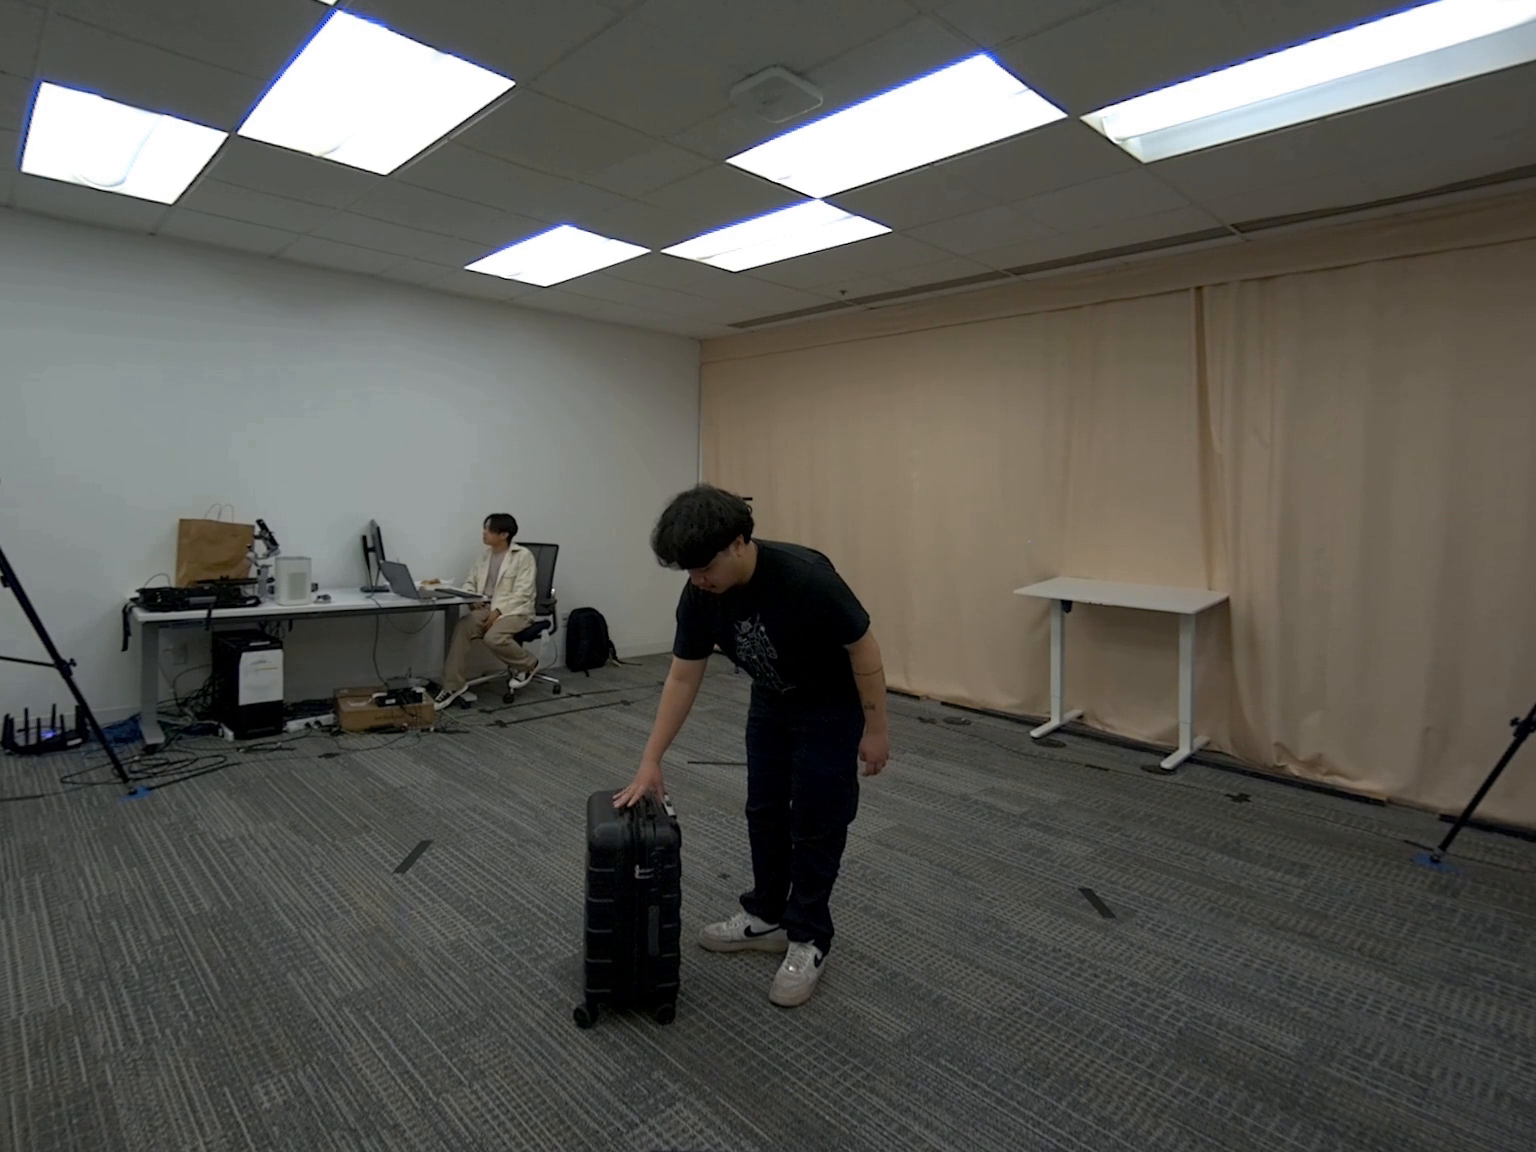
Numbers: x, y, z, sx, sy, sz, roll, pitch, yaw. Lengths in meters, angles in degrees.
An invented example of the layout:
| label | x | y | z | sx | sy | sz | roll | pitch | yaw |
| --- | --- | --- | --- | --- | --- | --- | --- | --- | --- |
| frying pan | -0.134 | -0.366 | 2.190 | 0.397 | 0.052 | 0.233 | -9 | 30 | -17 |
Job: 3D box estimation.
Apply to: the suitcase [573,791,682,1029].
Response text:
| label | x | y | z | sx | sy | sz | roll | pitch | yaw |
| --- | --- | --- | --- | --- | --- | --- | --- | --- | --- |
| suitcase | -0.388 | 0.896 | 2.340 | 0.246 | 0.548 | 0.380 | 0 | 4 | -12 |
